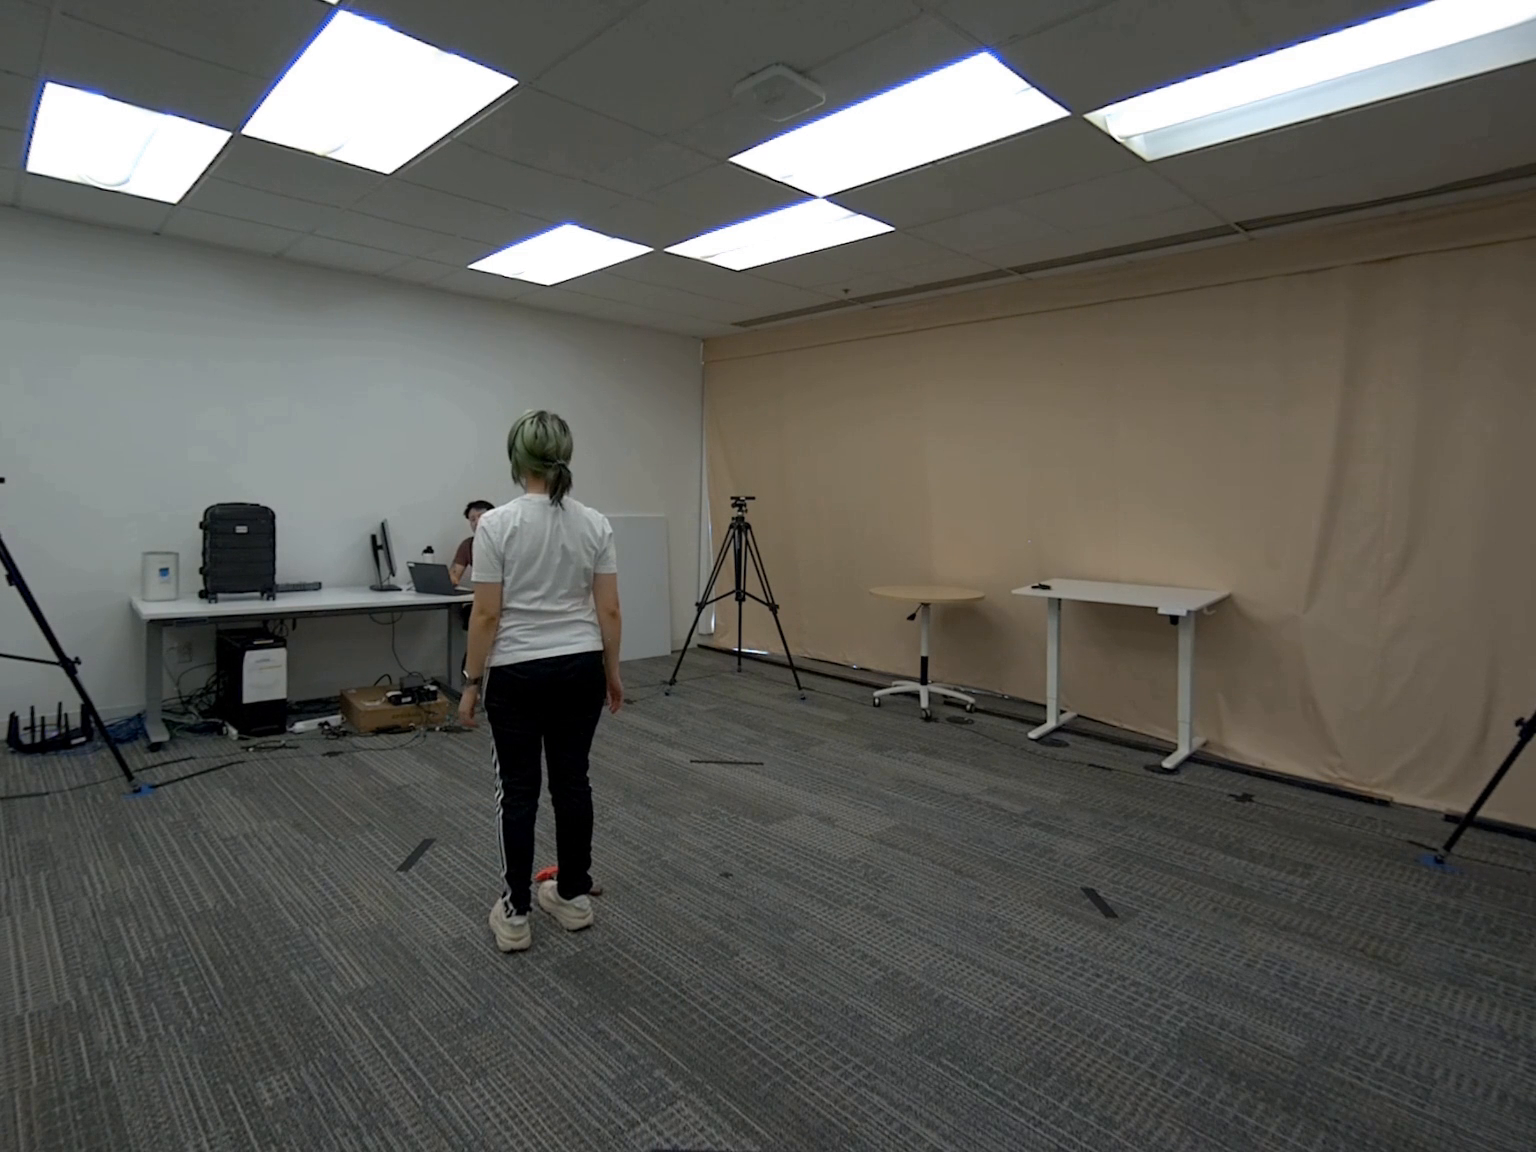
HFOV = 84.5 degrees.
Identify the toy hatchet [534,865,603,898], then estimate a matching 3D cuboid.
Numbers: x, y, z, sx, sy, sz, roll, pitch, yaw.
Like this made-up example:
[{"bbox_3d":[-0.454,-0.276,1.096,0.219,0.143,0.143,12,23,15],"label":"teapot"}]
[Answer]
[{"bbox_3d":[-0.696,1.088,3.014,0.274,0.029,0.129,6,5,19],"label":"toy hatchet"}]
